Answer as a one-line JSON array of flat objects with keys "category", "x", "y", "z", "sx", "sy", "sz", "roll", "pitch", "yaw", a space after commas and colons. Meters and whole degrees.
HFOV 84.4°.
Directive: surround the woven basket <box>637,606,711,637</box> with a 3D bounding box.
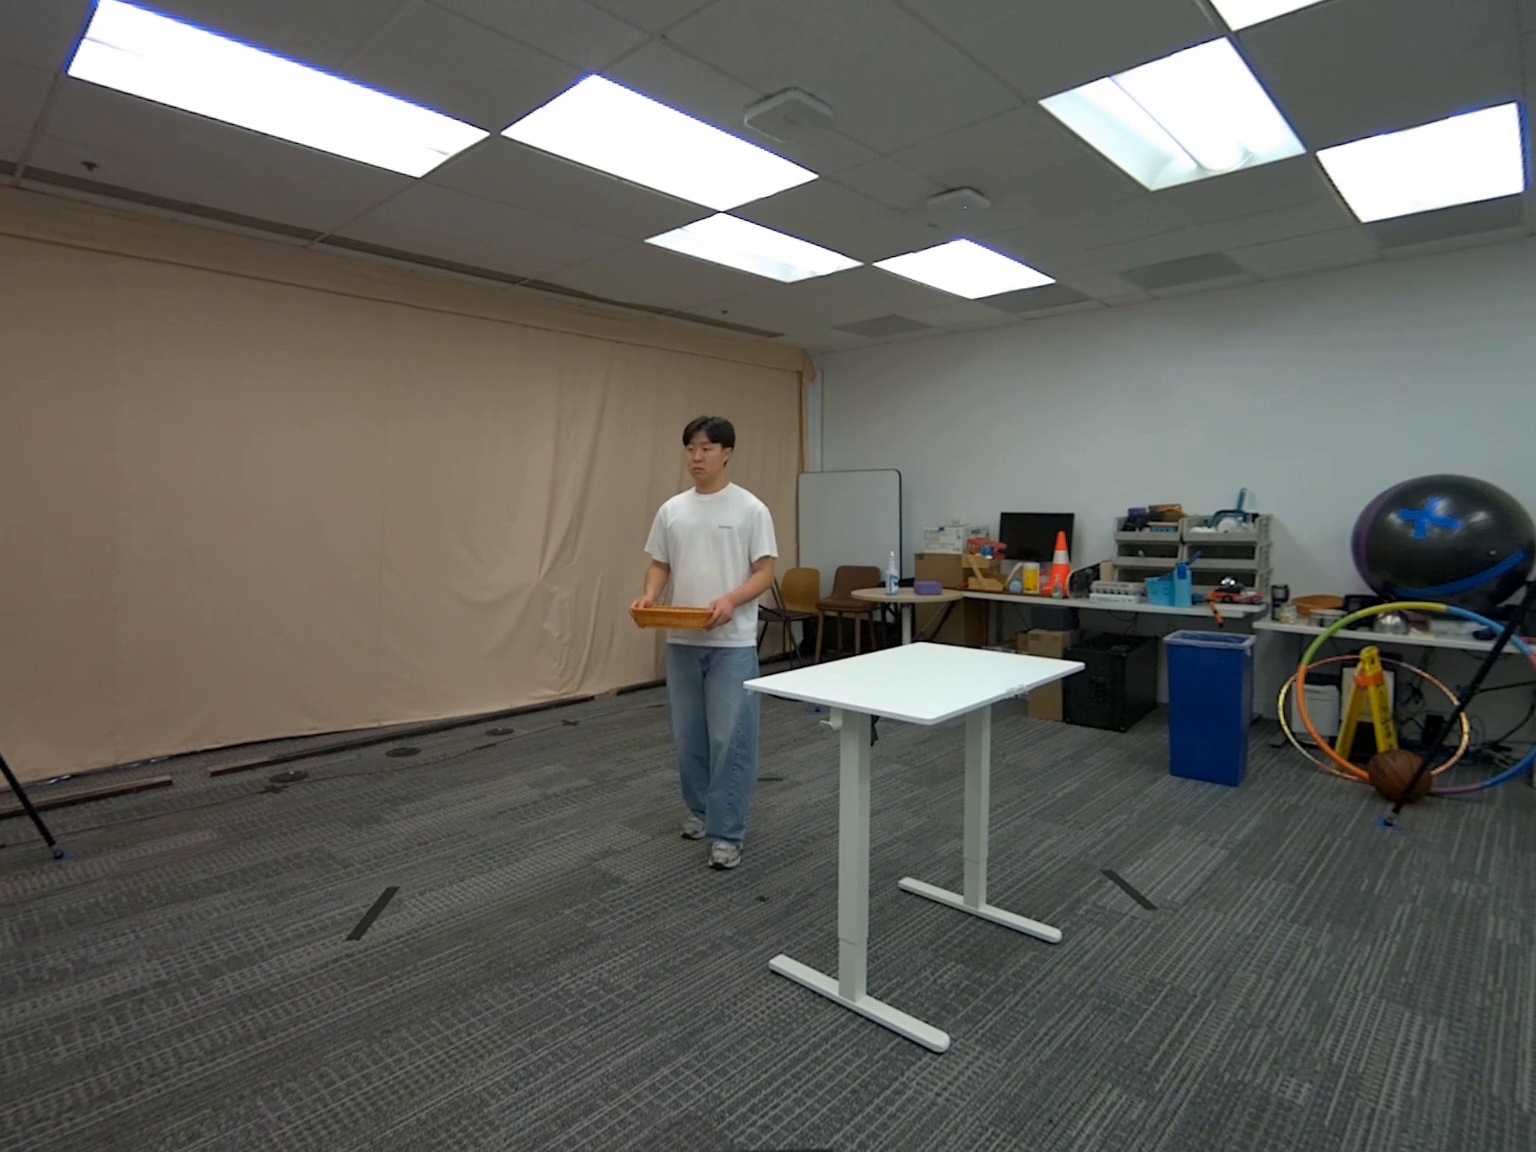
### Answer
[{"category": "woven basket", "x": -0.277, "y": 0.153, "z": 3.183, "sx": 0.341, "sy": 0.073, "sz": 0.260, "roll": -6, "pitch": 5, "yaw": -31}]
